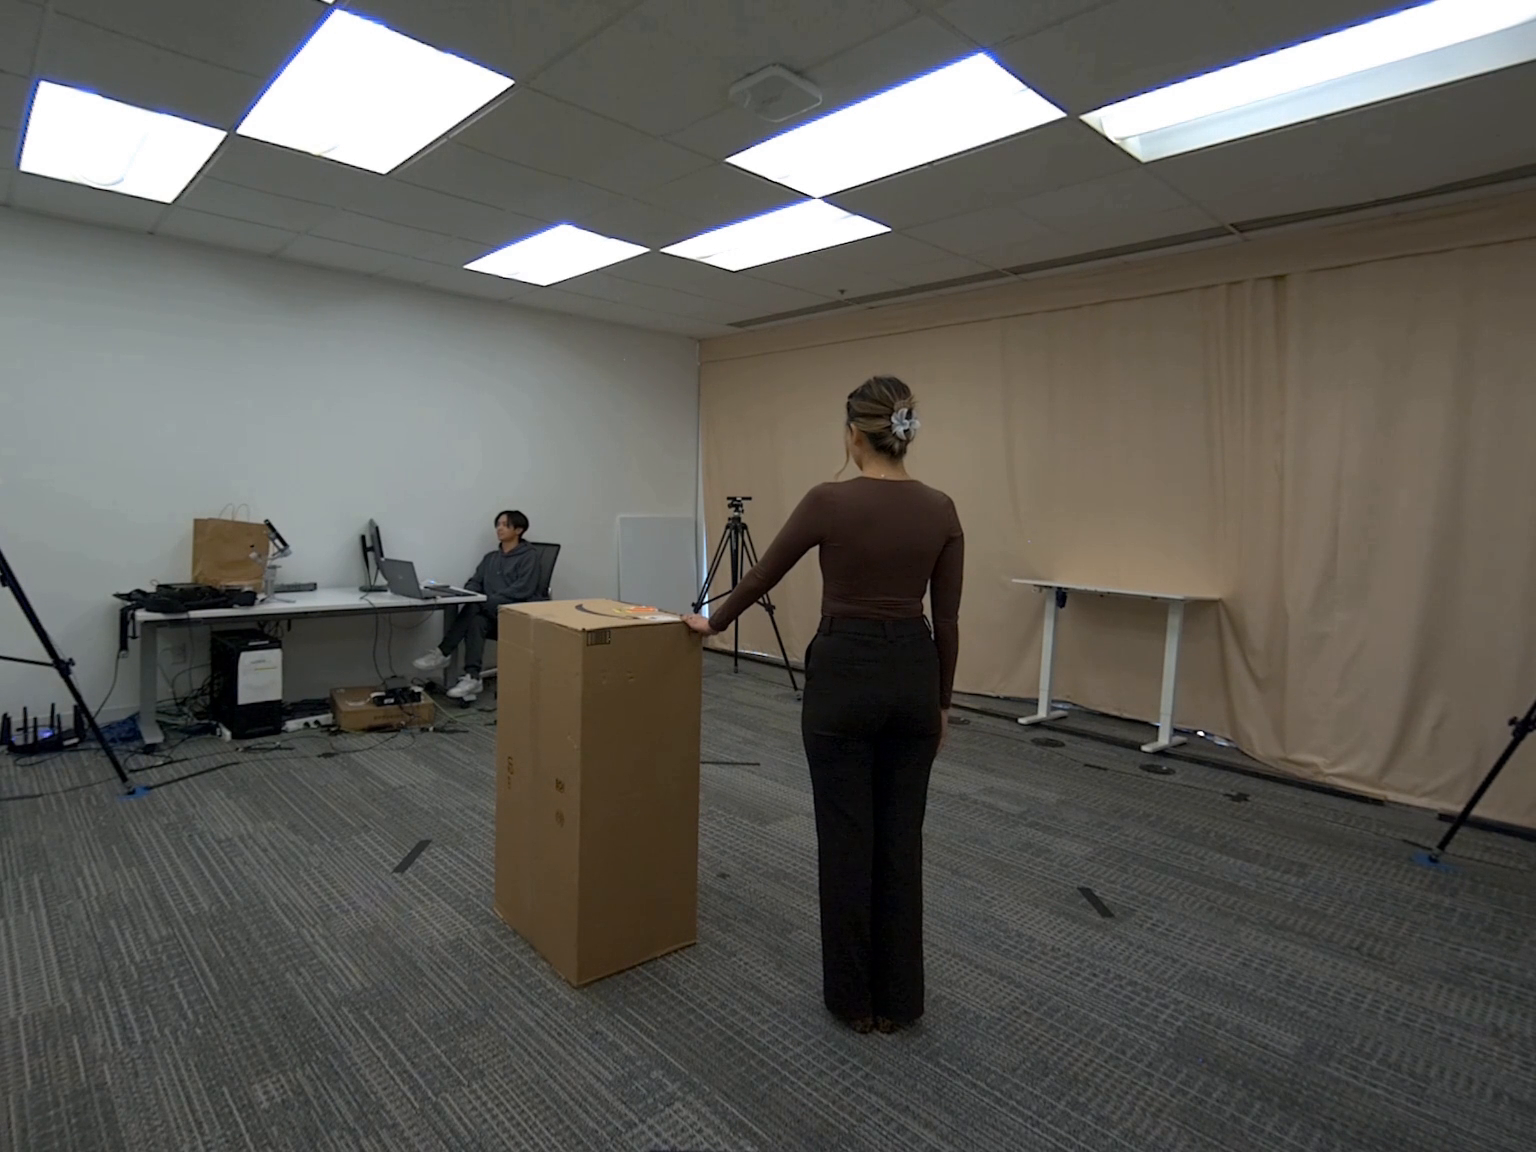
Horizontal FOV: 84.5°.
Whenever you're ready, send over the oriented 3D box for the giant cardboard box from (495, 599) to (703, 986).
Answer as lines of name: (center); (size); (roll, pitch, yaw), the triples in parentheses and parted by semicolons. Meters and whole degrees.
giant cardboard box: (-0.561, 0.625, 2.696); (0.436, 1.025, 0.598); (0, 3, -38)
